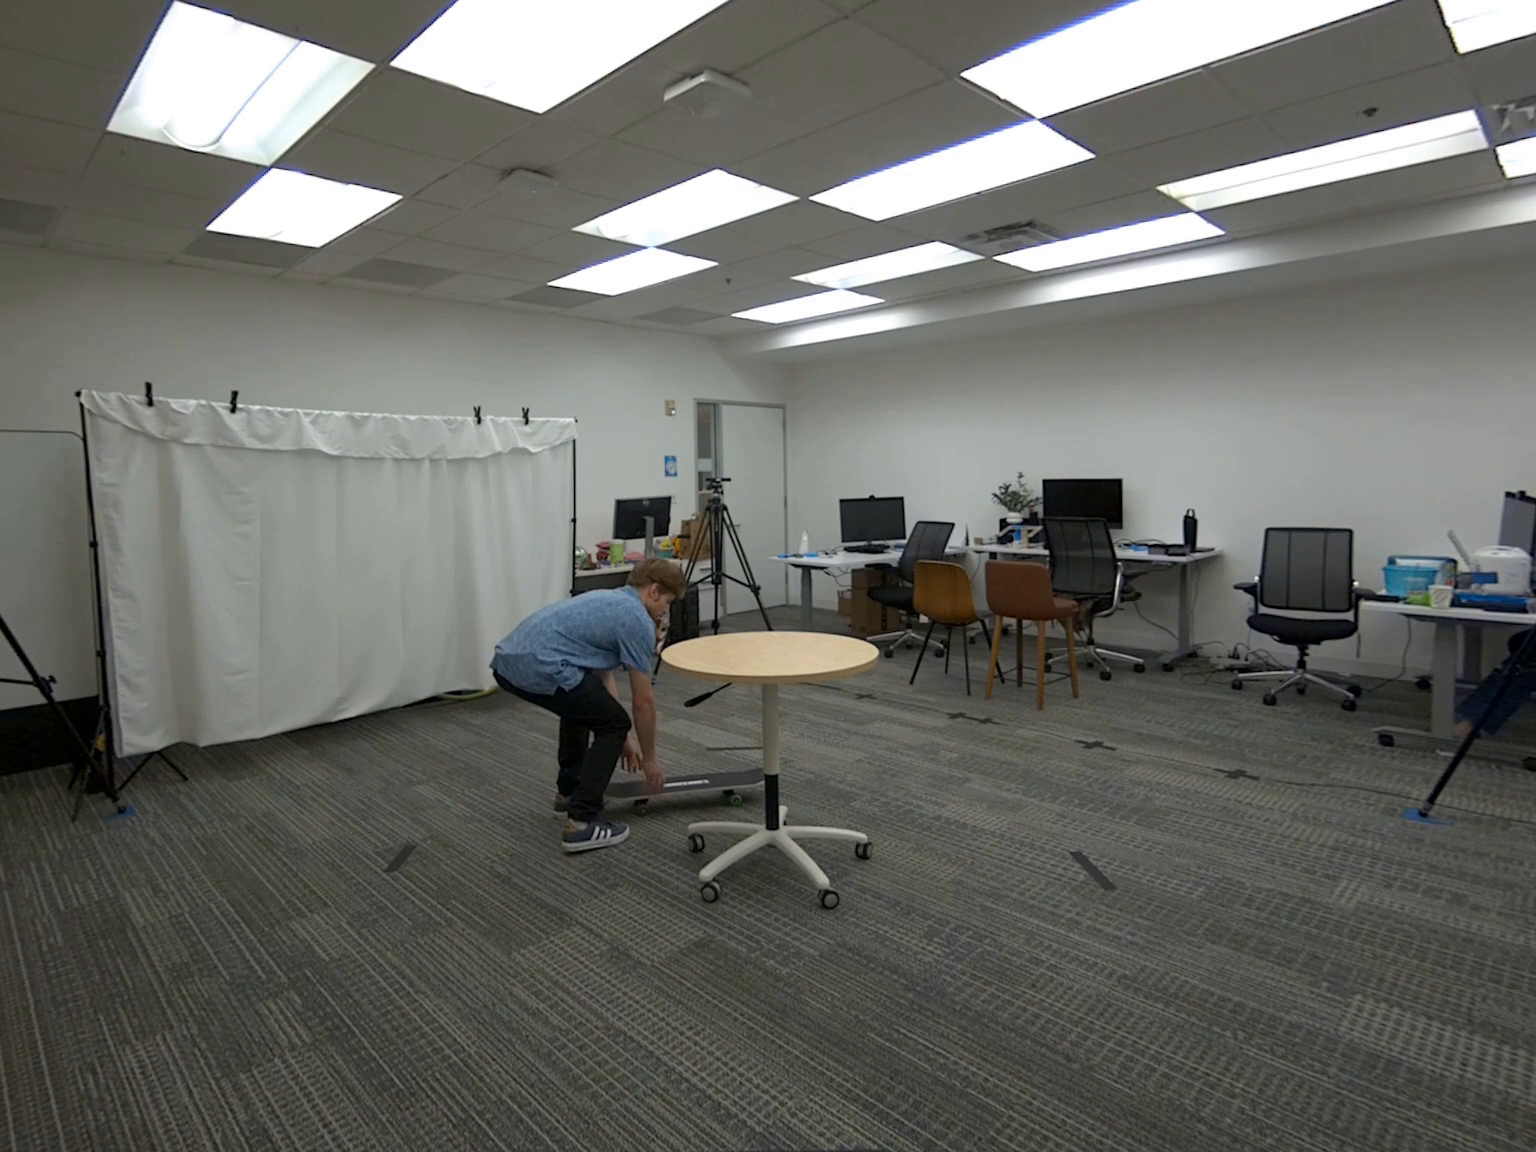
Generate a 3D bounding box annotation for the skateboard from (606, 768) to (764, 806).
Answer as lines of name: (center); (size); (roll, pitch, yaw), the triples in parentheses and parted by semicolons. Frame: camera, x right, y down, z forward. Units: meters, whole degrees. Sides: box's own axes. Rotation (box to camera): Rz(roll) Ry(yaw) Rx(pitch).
skateboard: (-0.348, 0.923, 3.685); (0.777, 0.110, 0.196); (-3, 5, -11)
